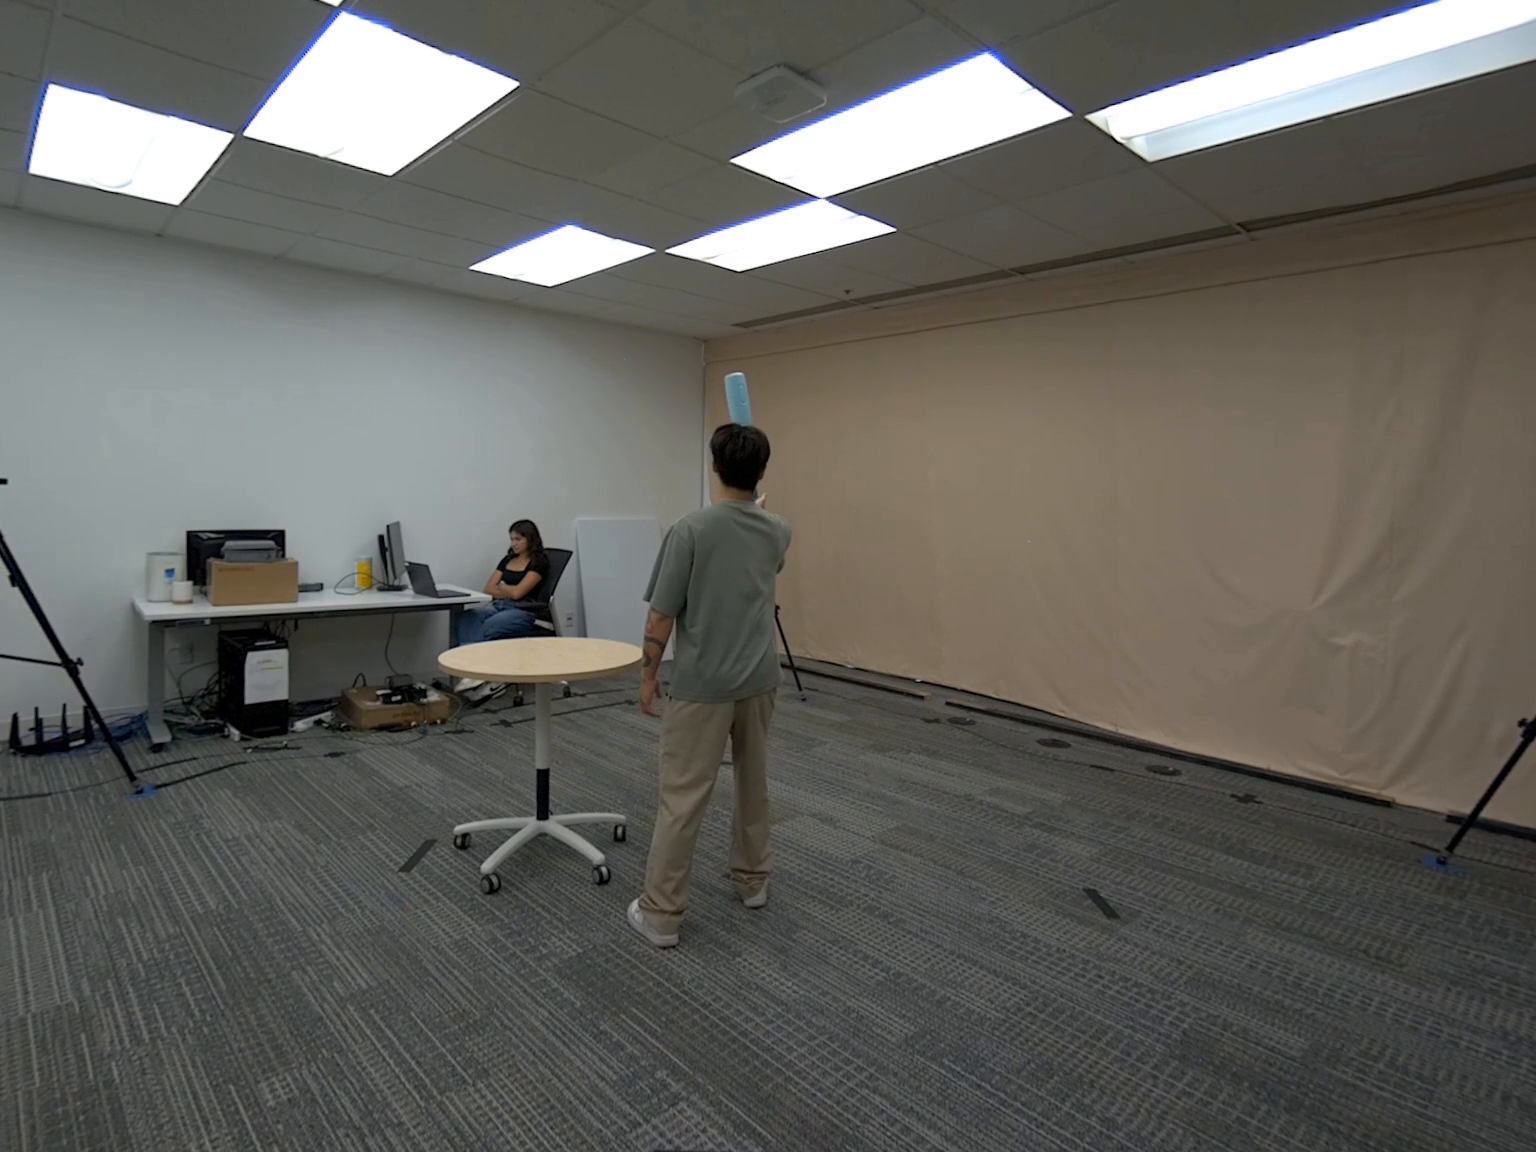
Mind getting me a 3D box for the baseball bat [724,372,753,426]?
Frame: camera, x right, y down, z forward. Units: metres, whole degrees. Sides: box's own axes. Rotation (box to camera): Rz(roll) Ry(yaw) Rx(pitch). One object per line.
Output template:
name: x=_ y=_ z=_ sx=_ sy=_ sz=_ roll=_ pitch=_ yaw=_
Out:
baseball bat: x=-0.109 y=-0.562 z=3.457 sx=0.089 sy=0.541 sz=0.089 roll=-10 pitch=5 yaw=0
